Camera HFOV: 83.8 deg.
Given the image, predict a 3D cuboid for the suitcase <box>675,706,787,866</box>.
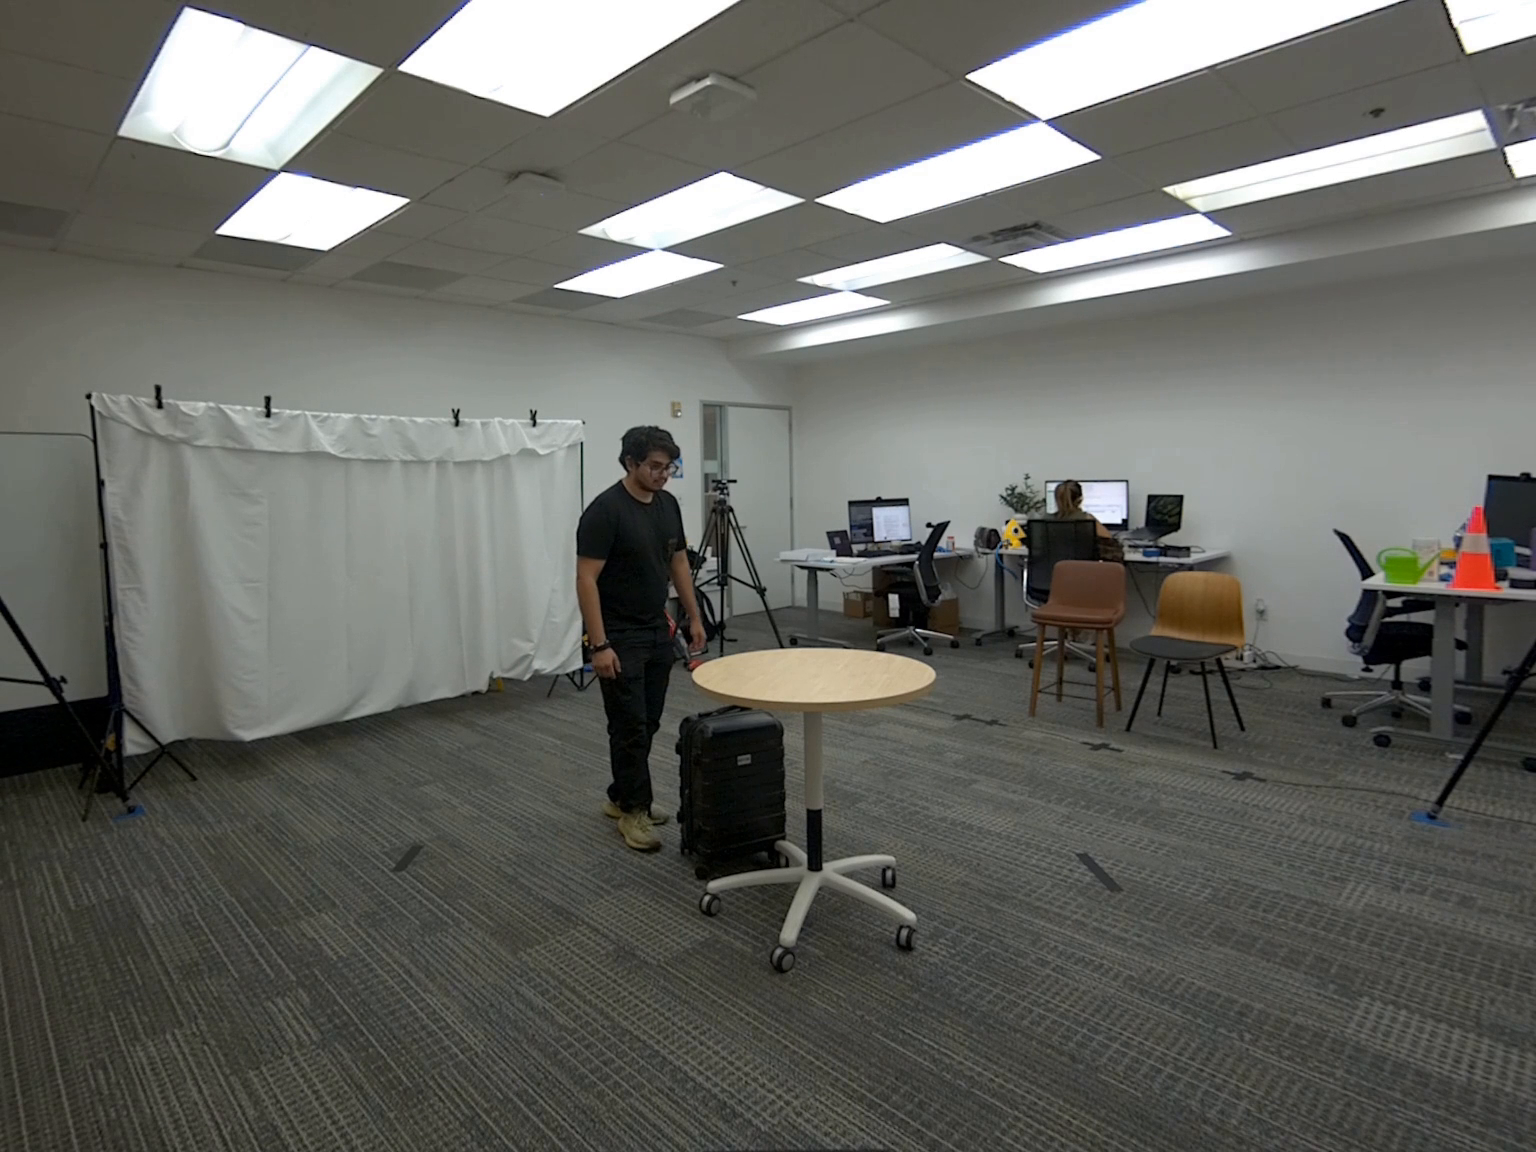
[{"bbox_3d":[-0.133,0.763,3.138,0.367,0.547,0.254,-4,5,-26],"label":"suitcase"}]
